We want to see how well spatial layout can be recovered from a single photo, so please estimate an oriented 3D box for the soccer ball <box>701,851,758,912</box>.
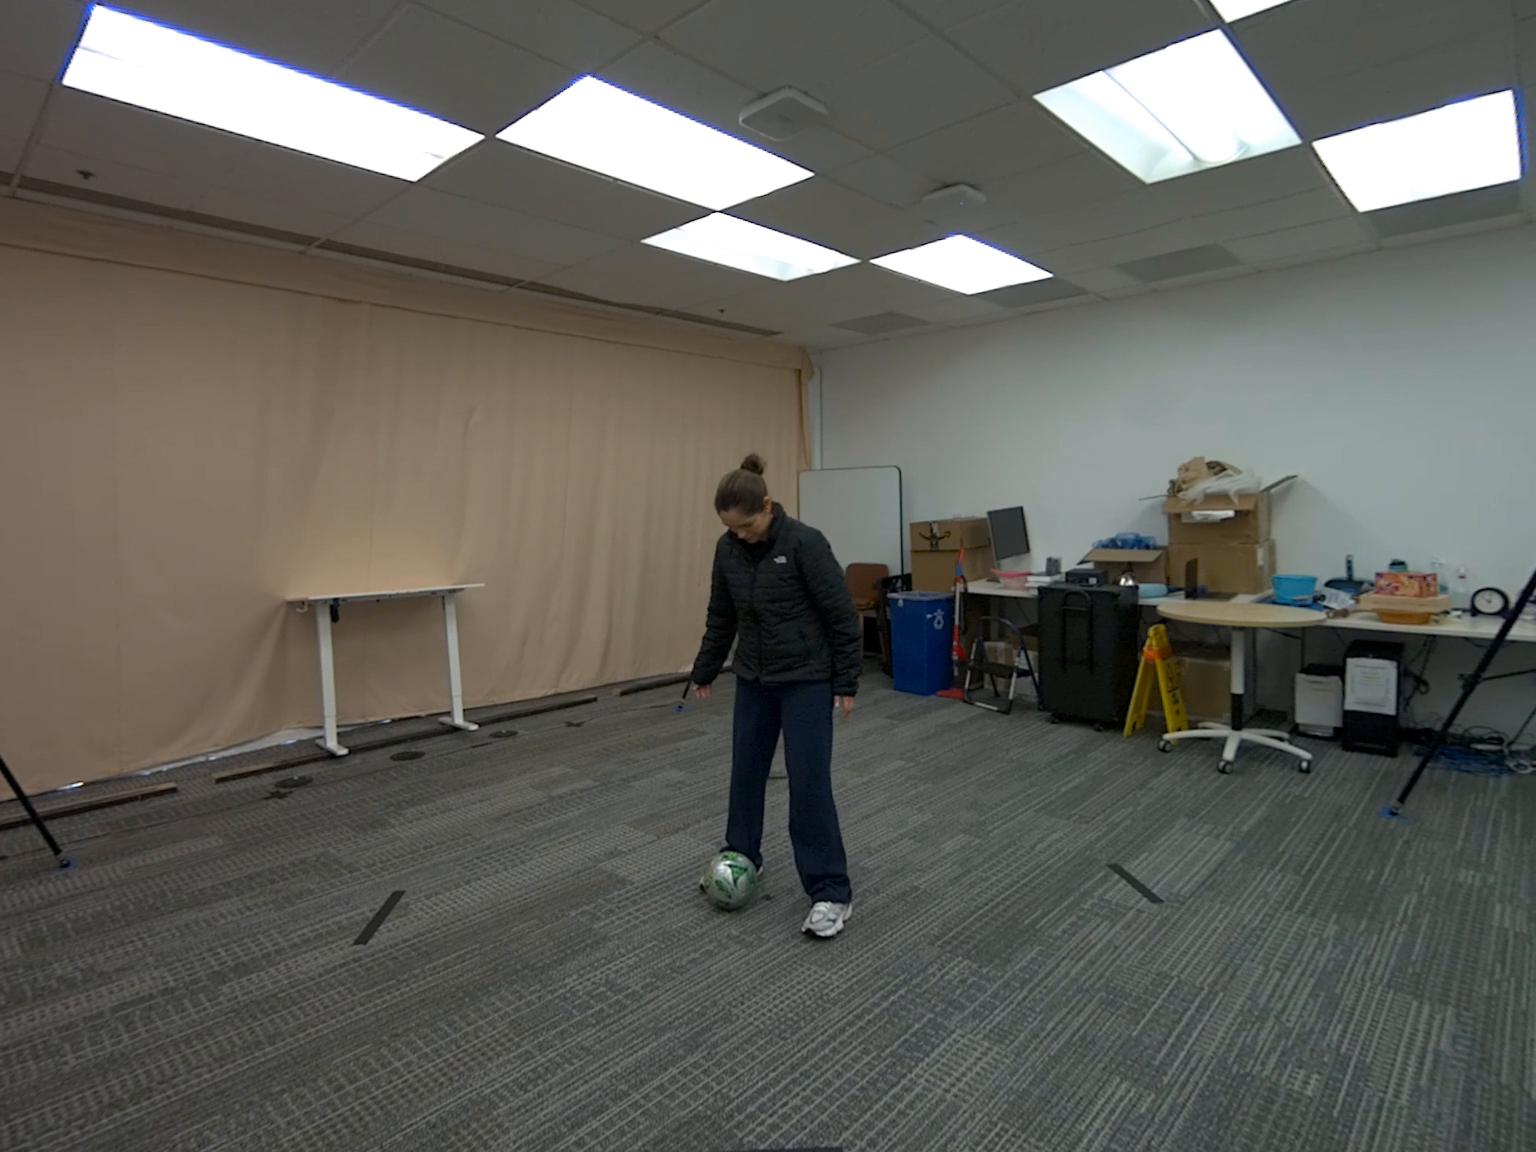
[{"bbox_3d":[-0.136,1.052,2.921,0.187,0.187,0.188,-1,4,-2],"label":"soccer ball"}]
